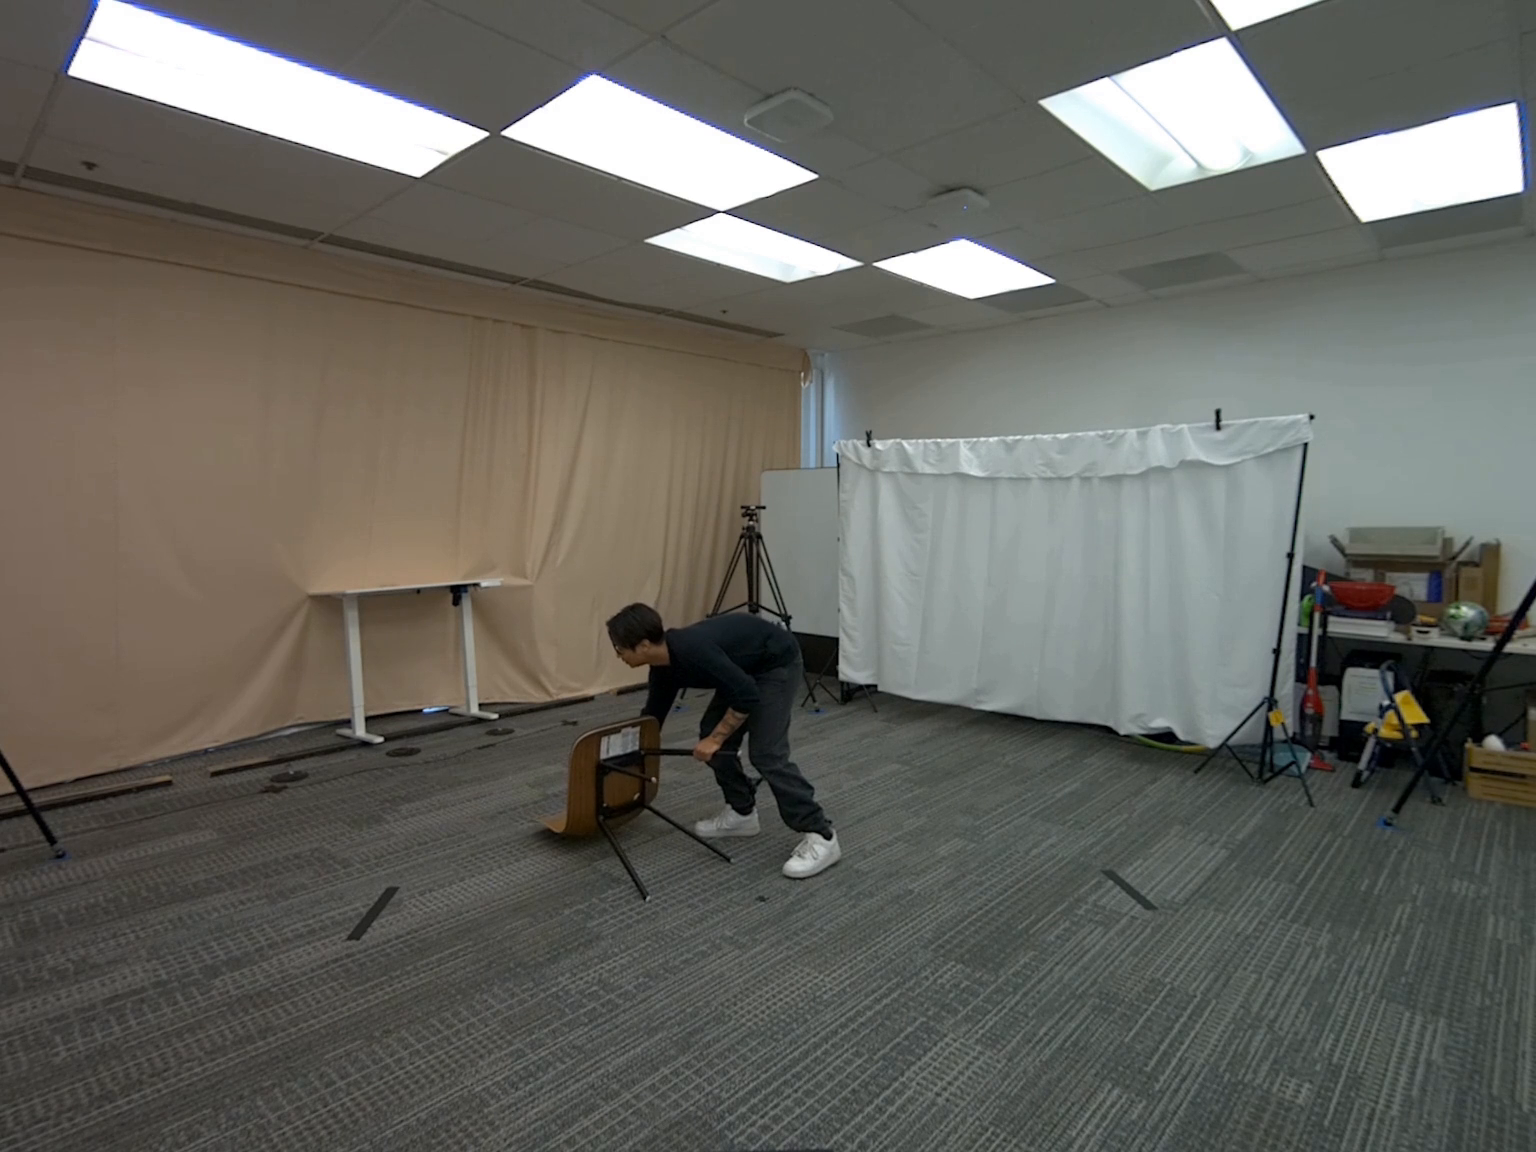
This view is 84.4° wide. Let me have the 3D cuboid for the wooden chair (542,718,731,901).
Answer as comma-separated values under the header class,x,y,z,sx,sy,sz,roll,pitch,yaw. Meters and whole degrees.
class,x,y,z,sx,sy,sz,roll,pitch,yaw
wooden chair,-0.586,0.844,3.393,0.907,0.522,0.463,4,6,43
